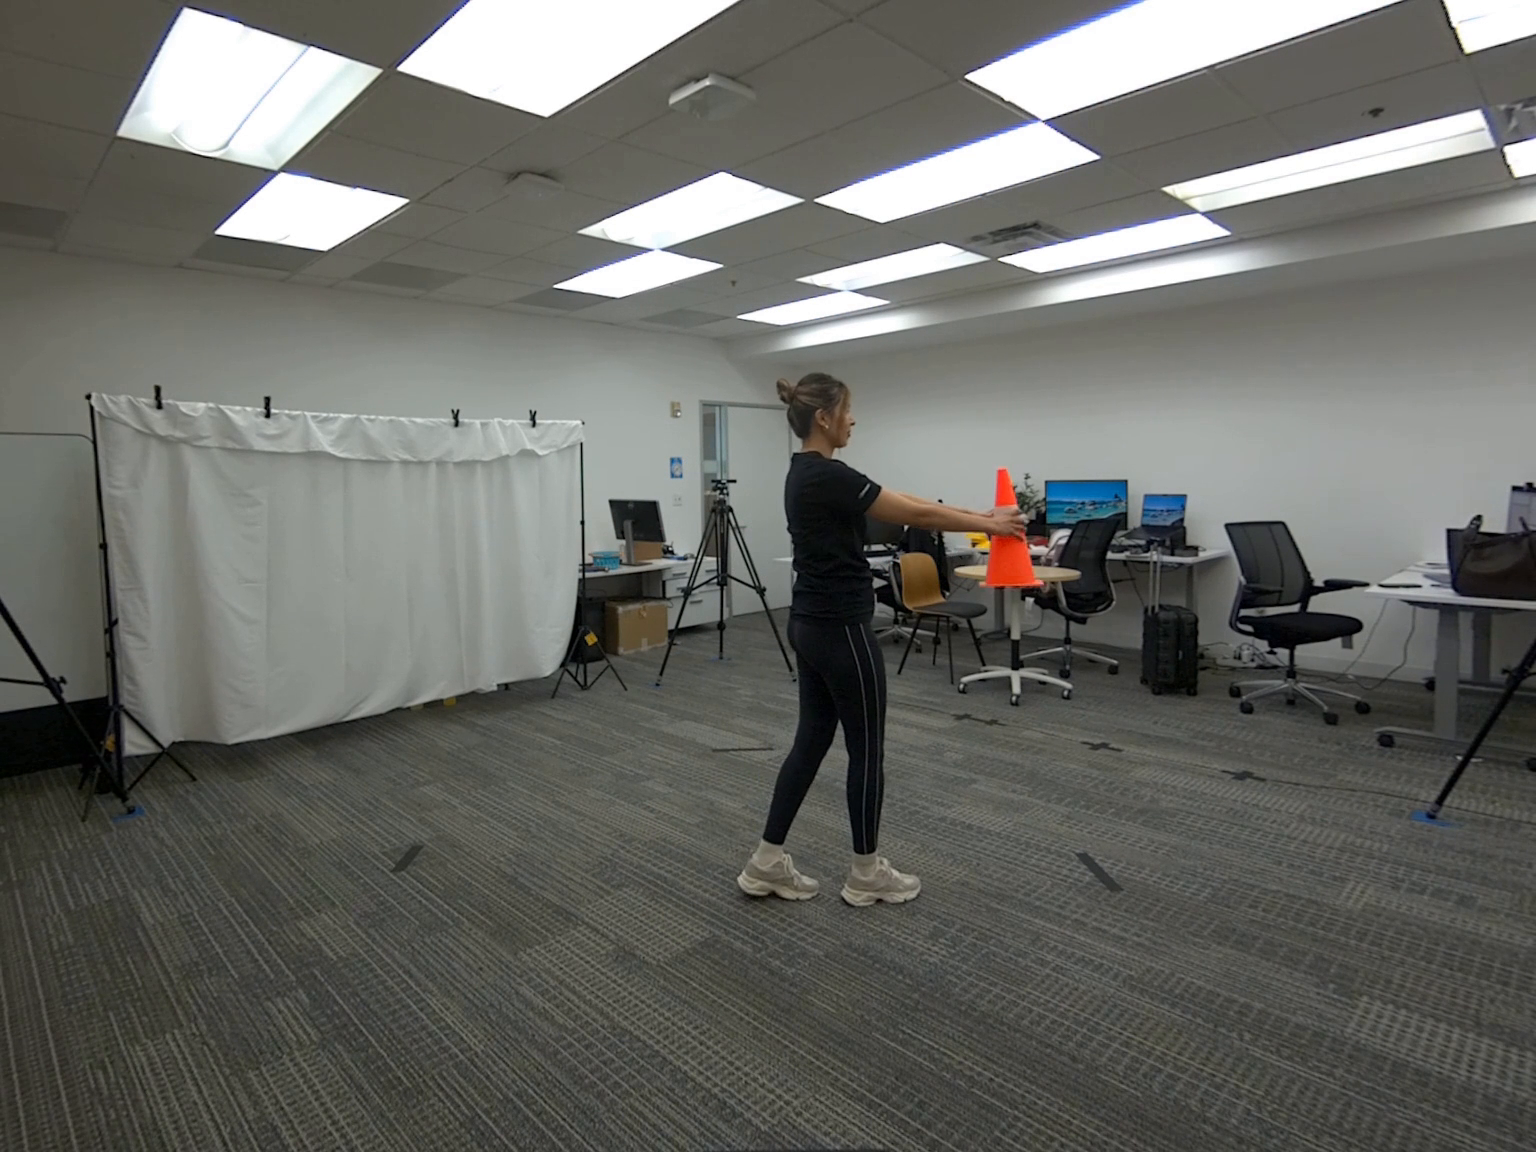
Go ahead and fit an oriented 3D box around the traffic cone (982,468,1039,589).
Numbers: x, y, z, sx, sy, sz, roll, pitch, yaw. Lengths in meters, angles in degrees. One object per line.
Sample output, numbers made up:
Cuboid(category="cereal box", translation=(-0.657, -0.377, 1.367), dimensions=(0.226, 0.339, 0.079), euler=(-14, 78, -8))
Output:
Cuboid(category="traffic cone", translation=(0.785, -0.163, 2.824), dimensions=(0.208, 0.383, 0.200), euler=(-6, 1, 39))
